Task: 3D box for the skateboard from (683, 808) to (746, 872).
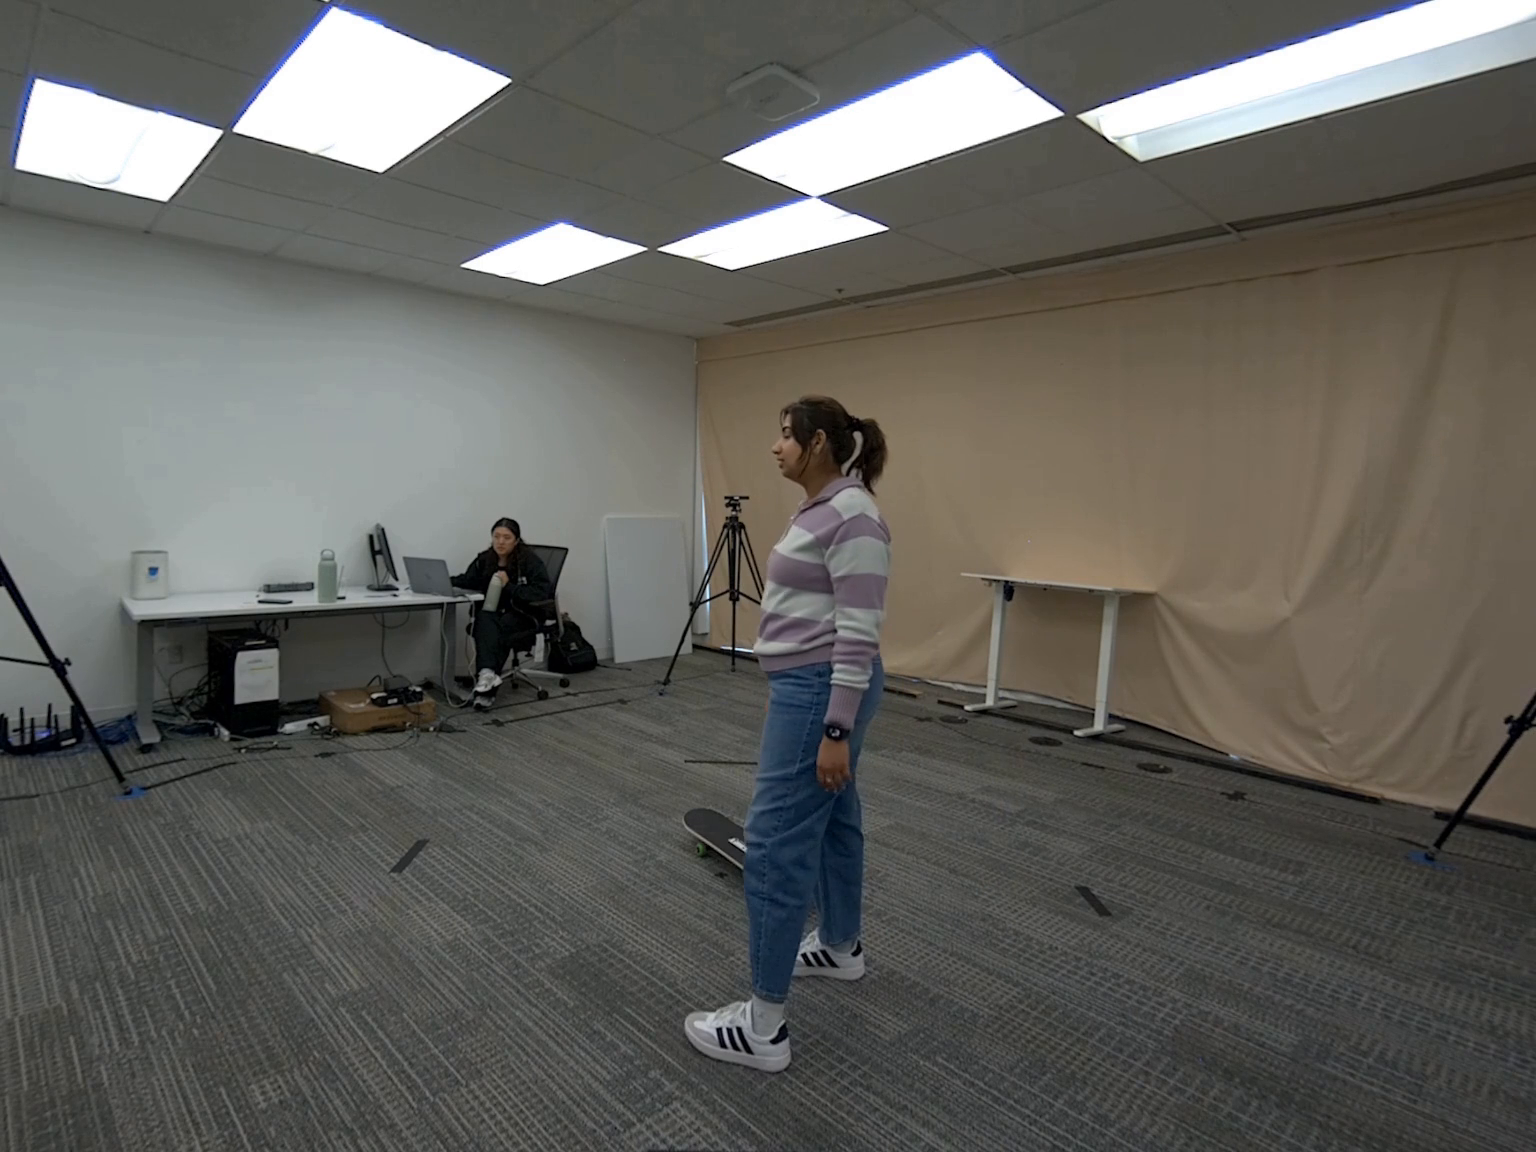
[{"bbox_3d":[-0.085,1.048,3.132,0.189,0.110,0.804,-1,6,-33],"label":"skateboard"}]
